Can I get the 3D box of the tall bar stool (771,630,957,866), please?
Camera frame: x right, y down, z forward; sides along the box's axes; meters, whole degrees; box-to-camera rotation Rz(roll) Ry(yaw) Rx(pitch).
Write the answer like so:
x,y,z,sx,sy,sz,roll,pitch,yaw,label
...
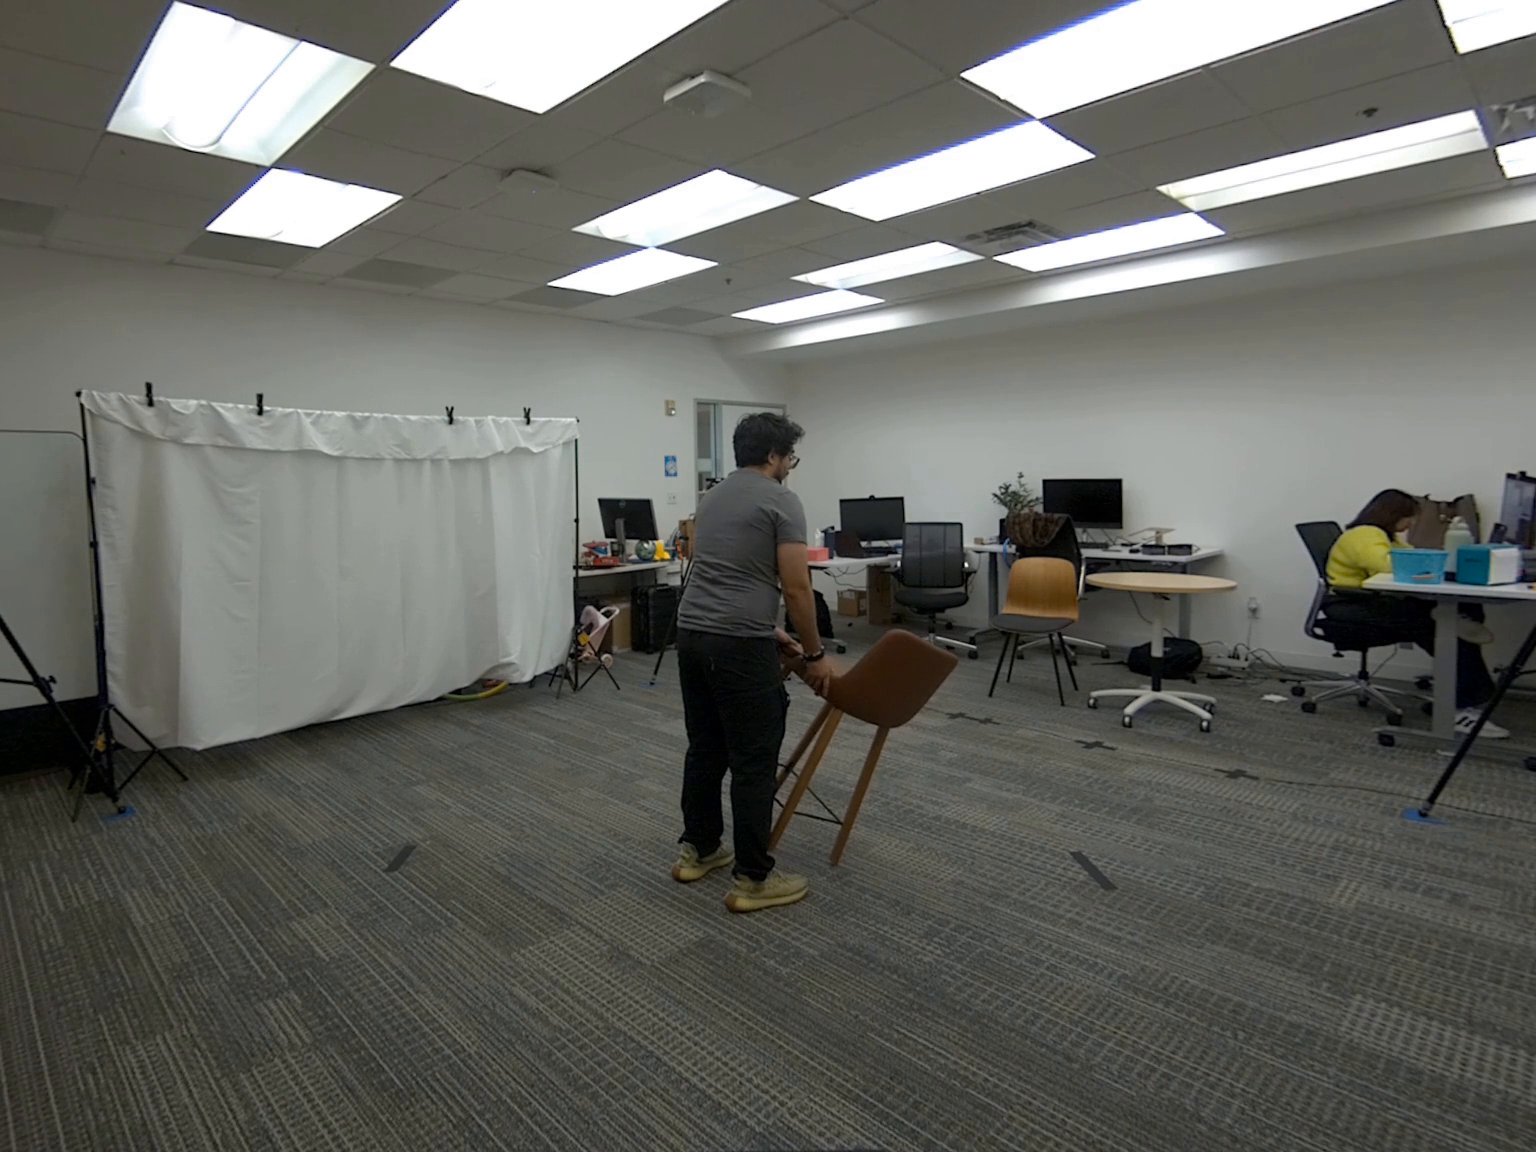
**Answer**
x,y,z,sx,sy,sz,roll,pitch,yaw,label
0.229,0.524,3.118,0.440,0.888,0.486,26,7,-39,tall bar stool
